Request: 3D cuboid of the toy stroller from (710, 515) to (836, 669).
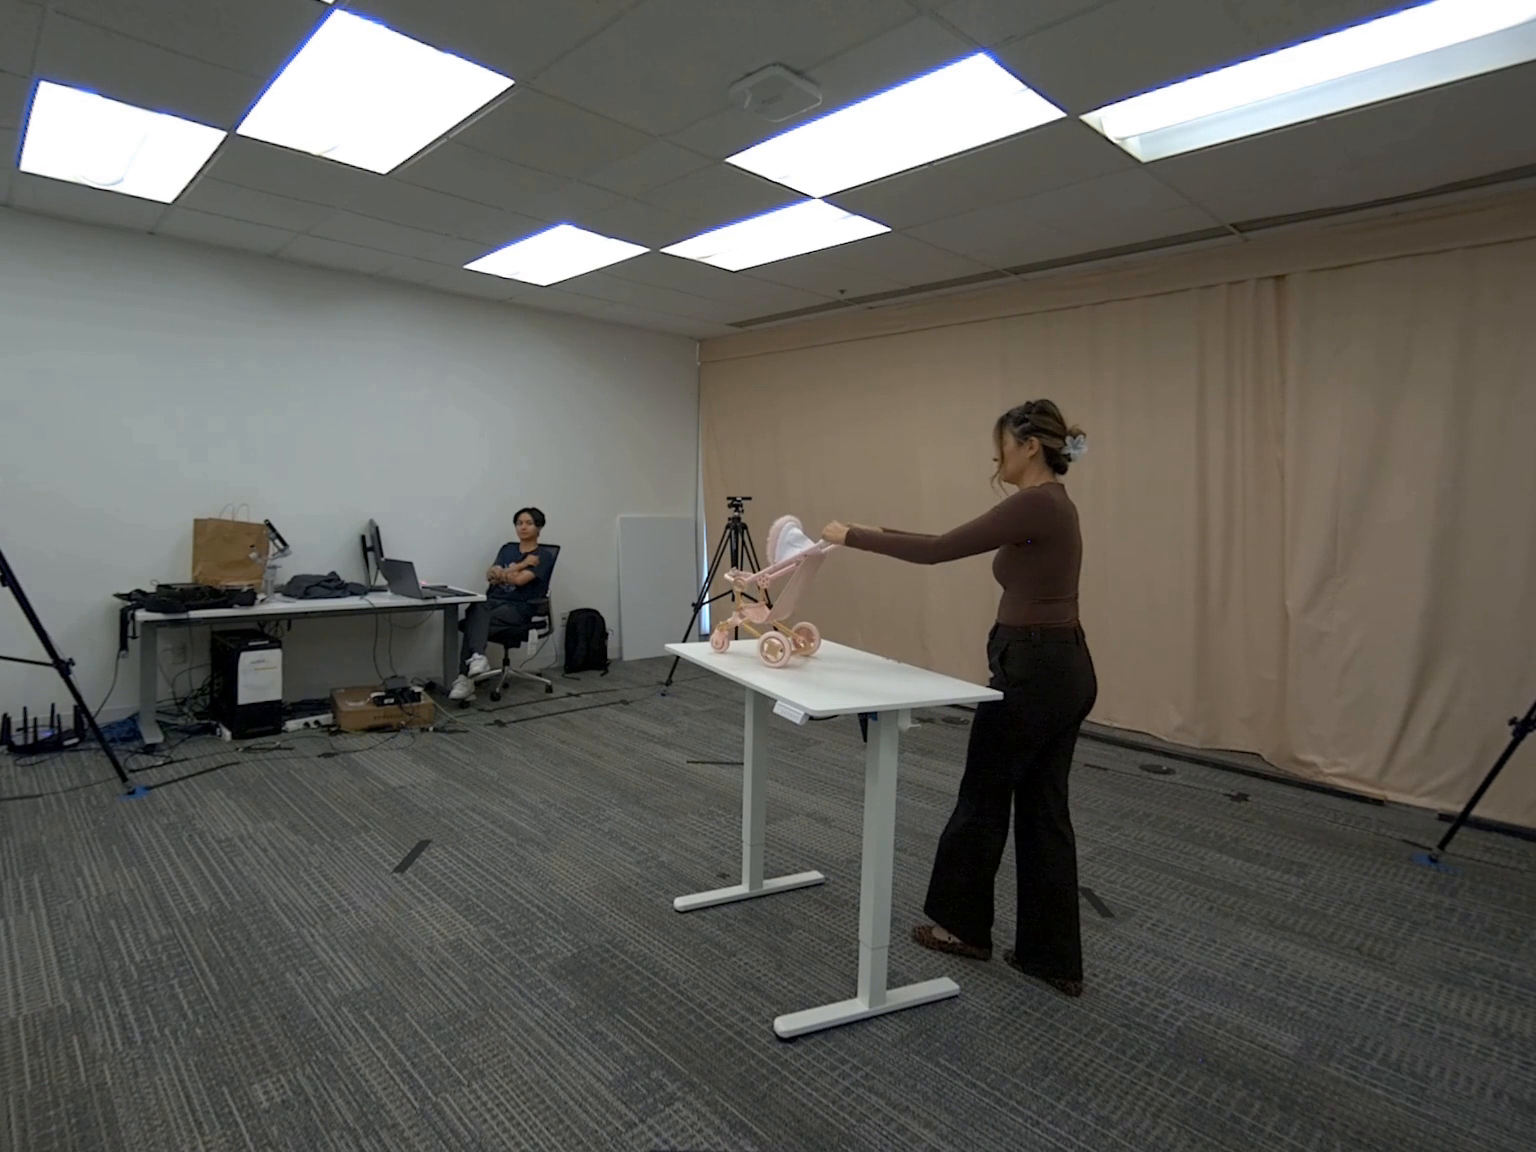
[{"bbox_3d":[0.018,0.047,2.675,0.350,0.532,0.275,22,12,29],"label":"toy stroller"}]
